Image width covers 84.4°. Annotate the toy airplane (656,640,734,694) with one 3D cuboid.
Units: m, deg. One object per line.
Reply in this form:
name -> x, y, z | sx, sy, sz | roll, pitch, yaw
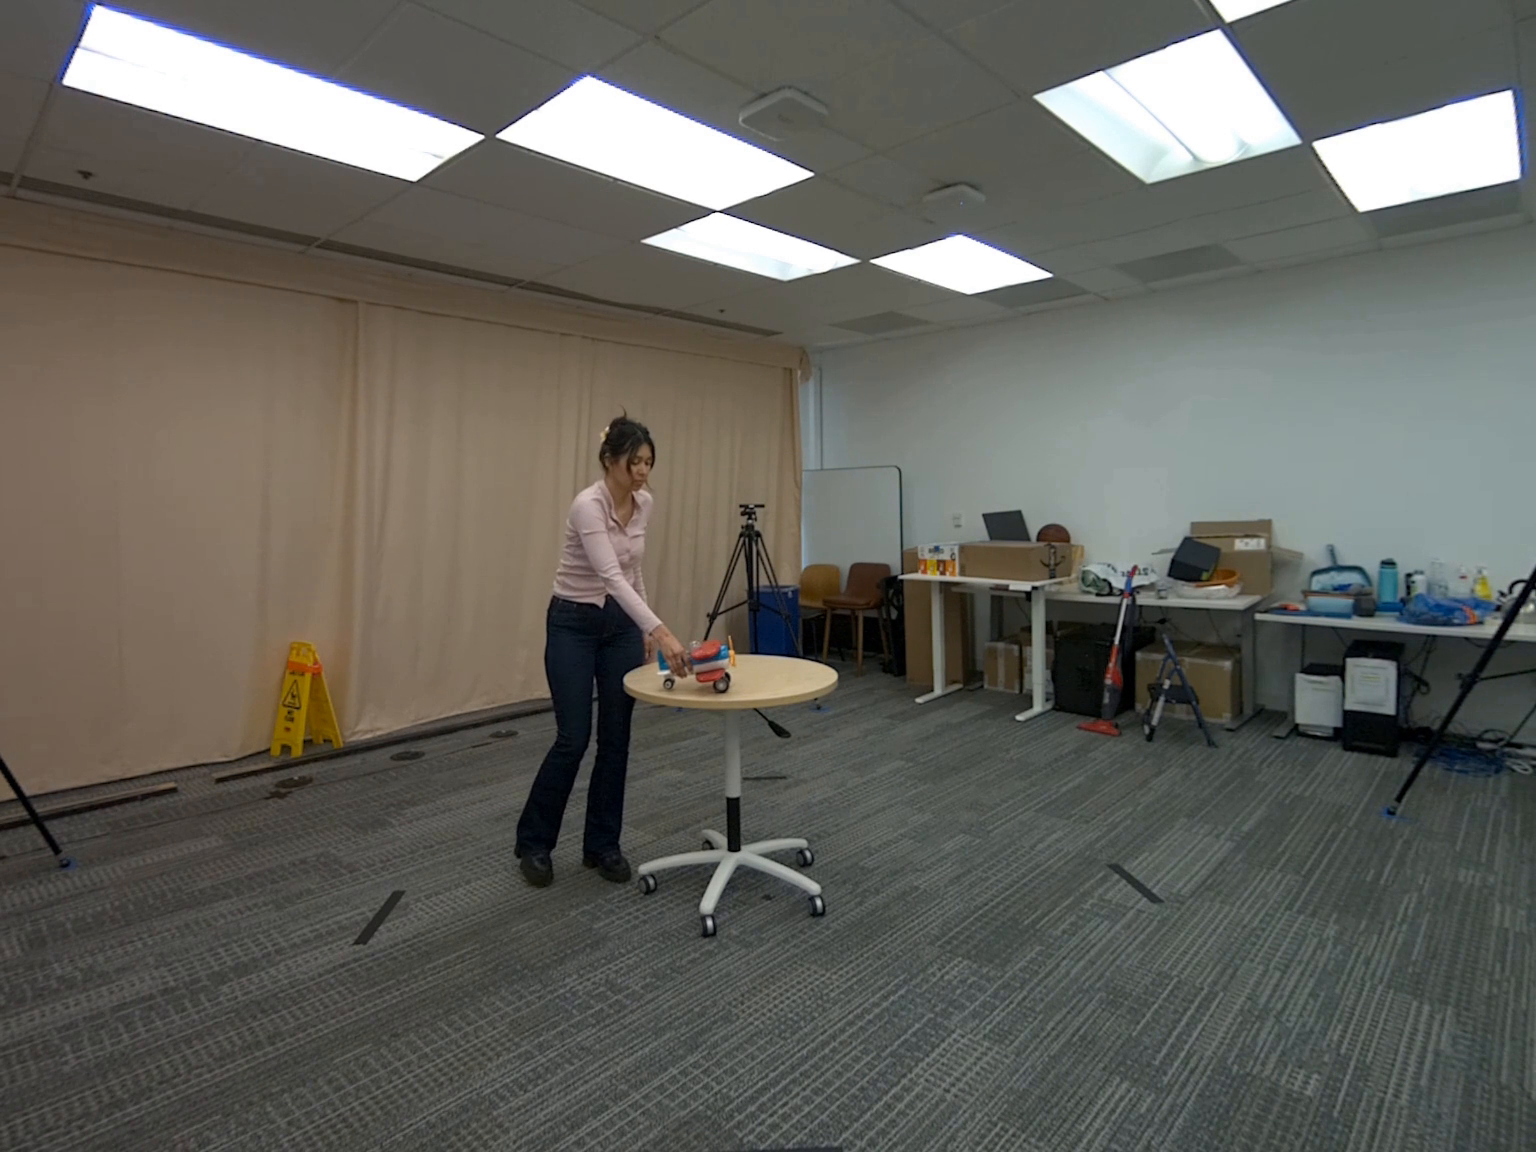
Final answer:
toy airplane -> -0.238, 0.301, 2.771 | 0.252, 0.156, 0.258 | 1, 3, -29
